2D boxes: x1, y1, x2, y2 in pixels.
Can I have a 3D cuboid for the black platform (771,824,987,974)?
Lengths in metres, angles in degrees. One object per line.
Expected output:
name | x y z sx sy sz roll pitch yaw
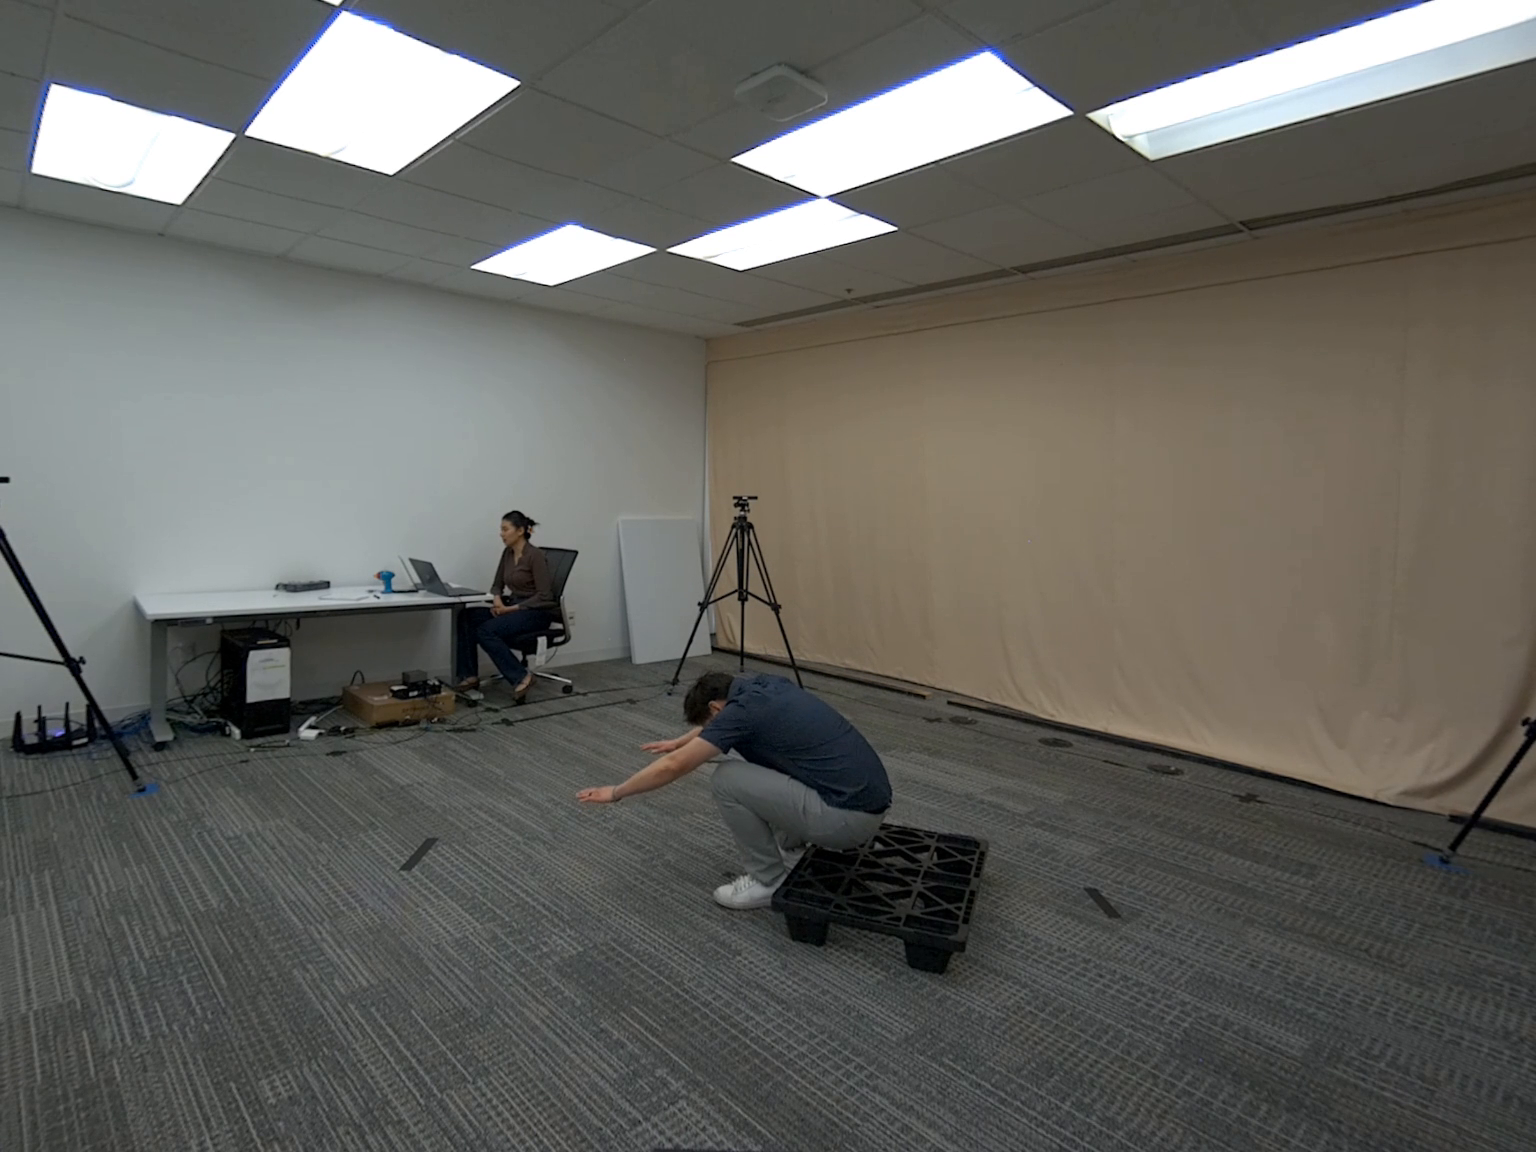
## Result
black platform | 0.406 1.070 2.894 0.615 0.143 0.795 3 5 20
